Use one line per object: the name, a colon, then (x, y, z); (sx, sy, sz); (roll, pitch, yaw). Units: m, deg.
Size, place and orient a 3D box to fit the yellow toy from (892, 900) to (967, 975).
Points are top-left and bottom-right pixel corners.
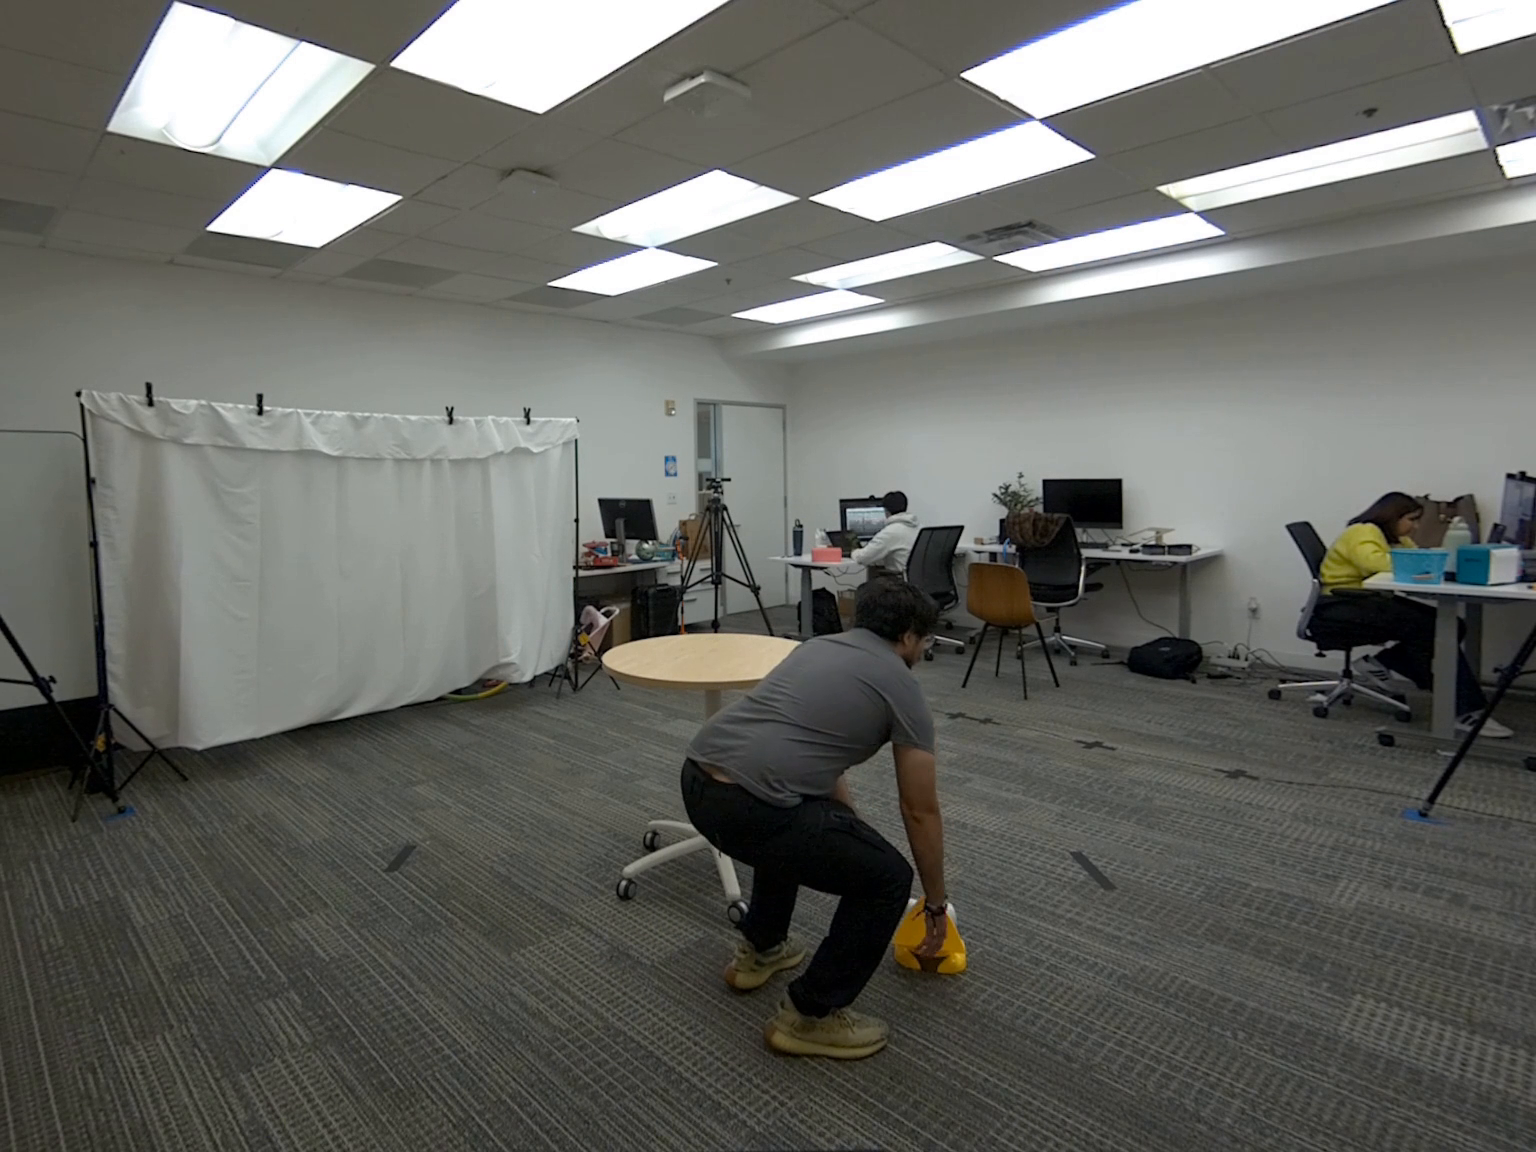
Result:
yellow toy: (0.475, 0.995, 2.466); (0.208, 0.229, 0.191); (1, 6, 14)
